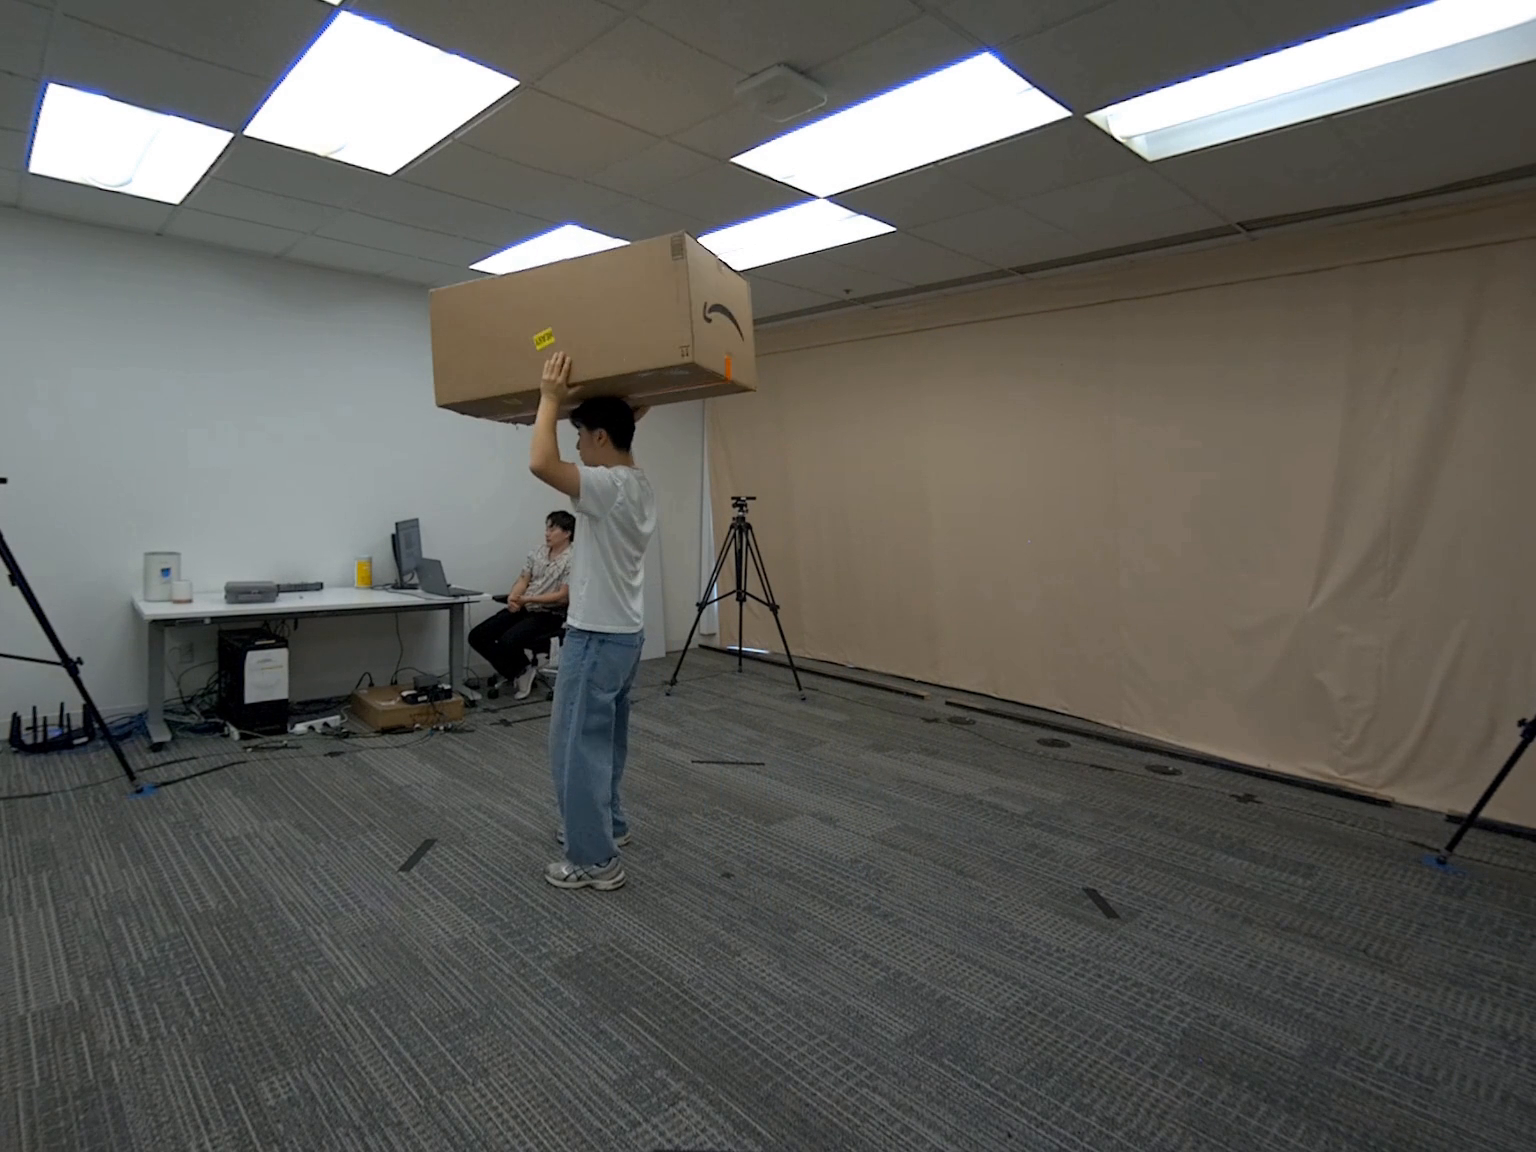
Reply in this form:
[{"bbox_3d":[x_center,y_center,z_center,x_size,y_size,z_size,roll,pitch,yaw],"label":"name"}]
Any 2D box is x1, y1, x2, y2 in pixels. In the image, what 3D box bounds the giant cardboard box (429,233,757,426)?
[{"bbox_3d":[-0.630,-0.856,3.087,1.041,0.427,0.568,-4,-1,22],"label":"giant cardboard box"}]
